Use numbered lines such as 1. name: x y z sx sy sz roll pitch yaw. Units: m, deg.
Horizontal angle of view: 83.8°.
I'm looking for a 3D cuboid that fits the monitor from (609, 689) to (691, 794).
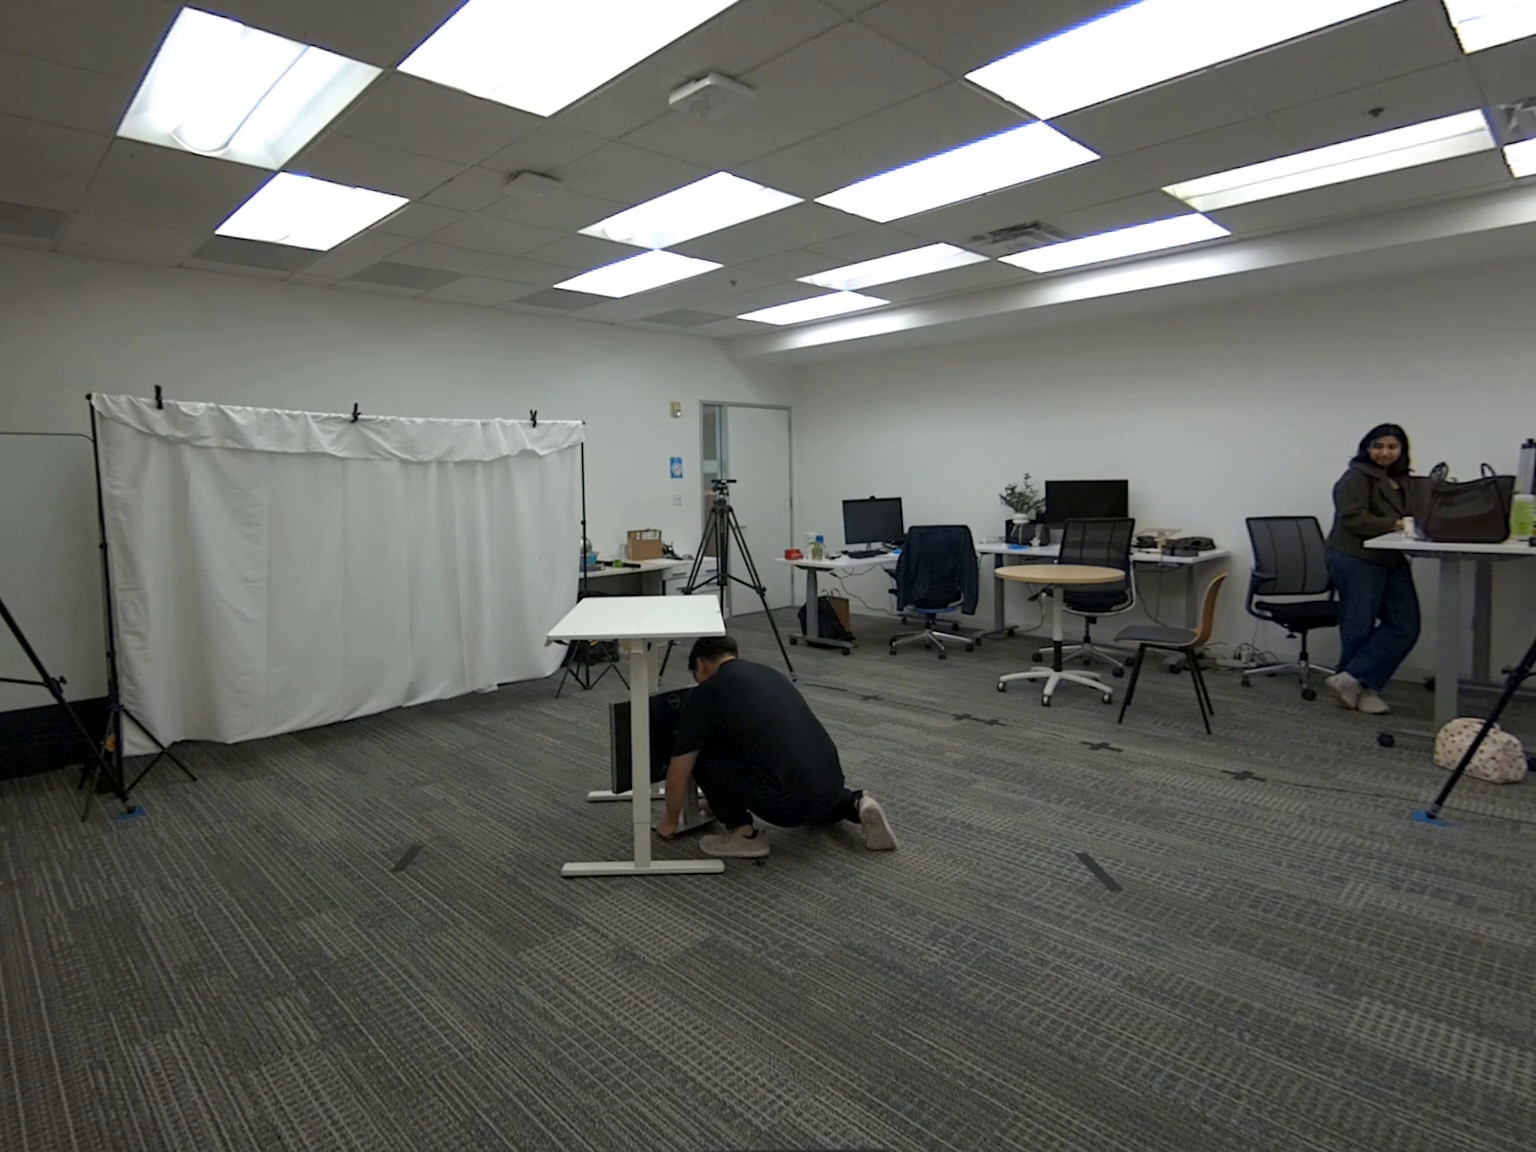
1. monitor: -0.359 0.728 3.466 0.525 0.526 0.191 -5 -7 -41
